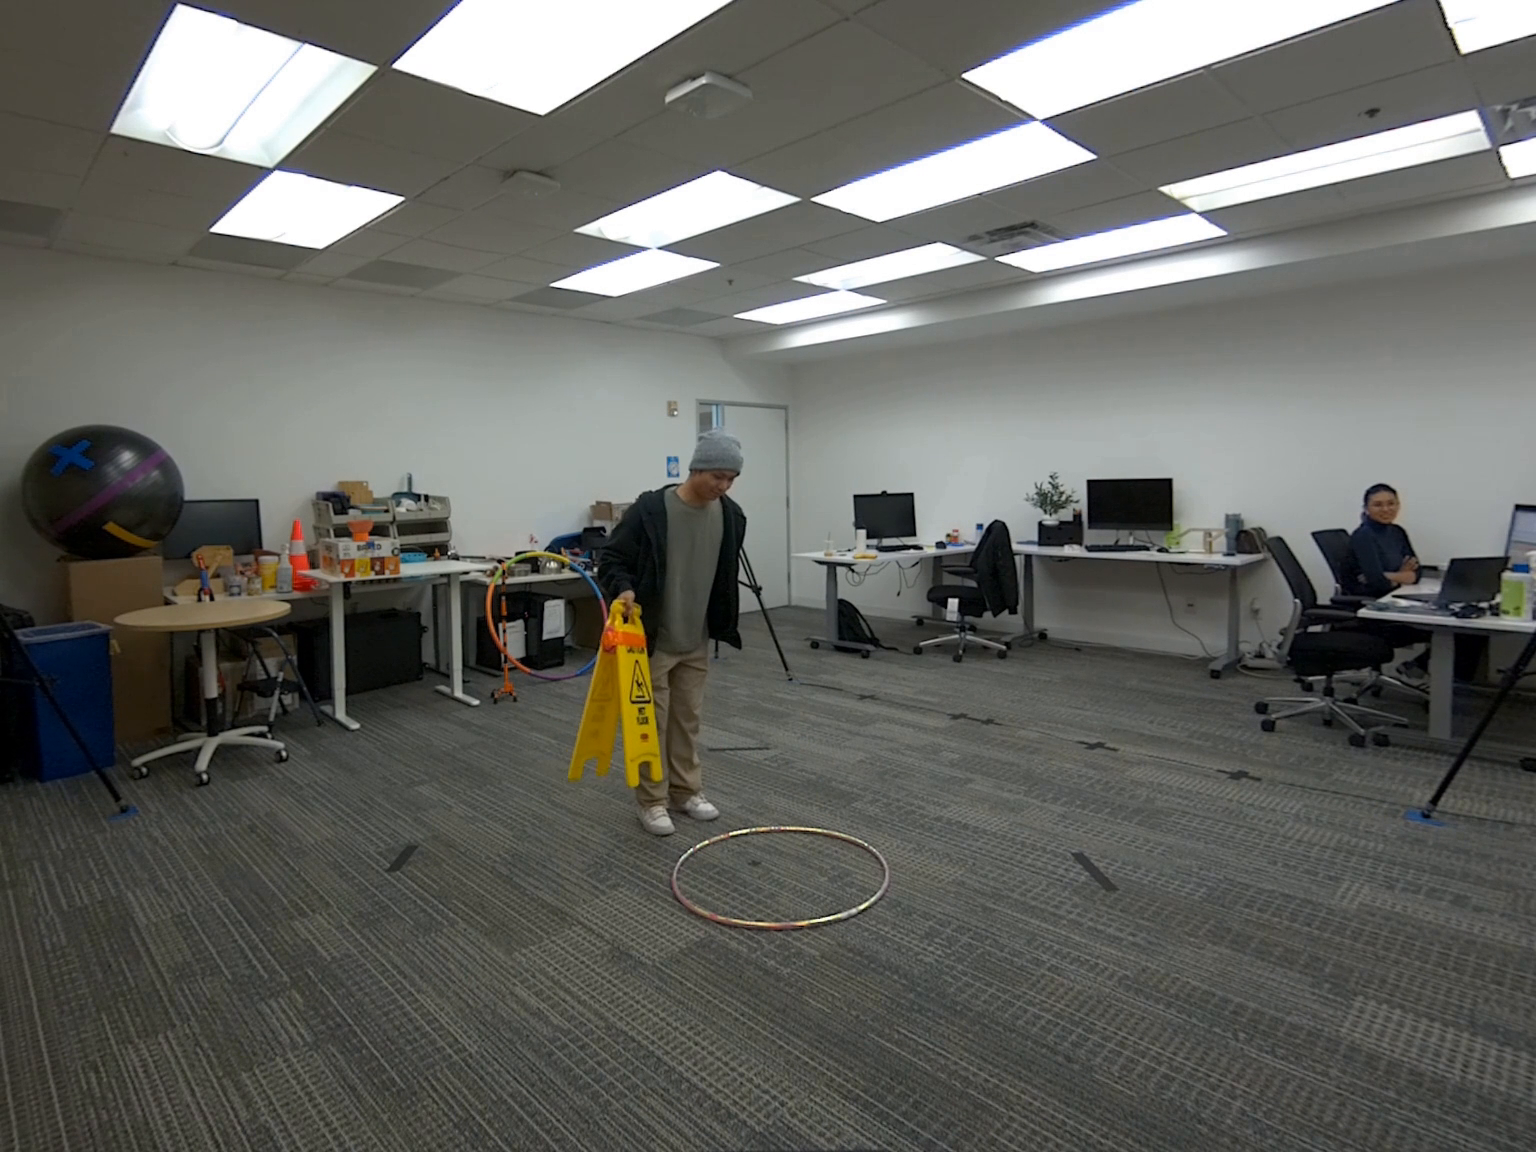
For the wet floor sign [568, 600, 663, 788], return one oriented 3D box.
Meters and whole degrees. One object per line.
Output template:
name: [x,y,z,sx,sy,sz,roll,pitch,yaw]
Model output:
wet floor sign: [-0.544,0.435,3.157,0.295,0.650,0.275,0,-8,18]
